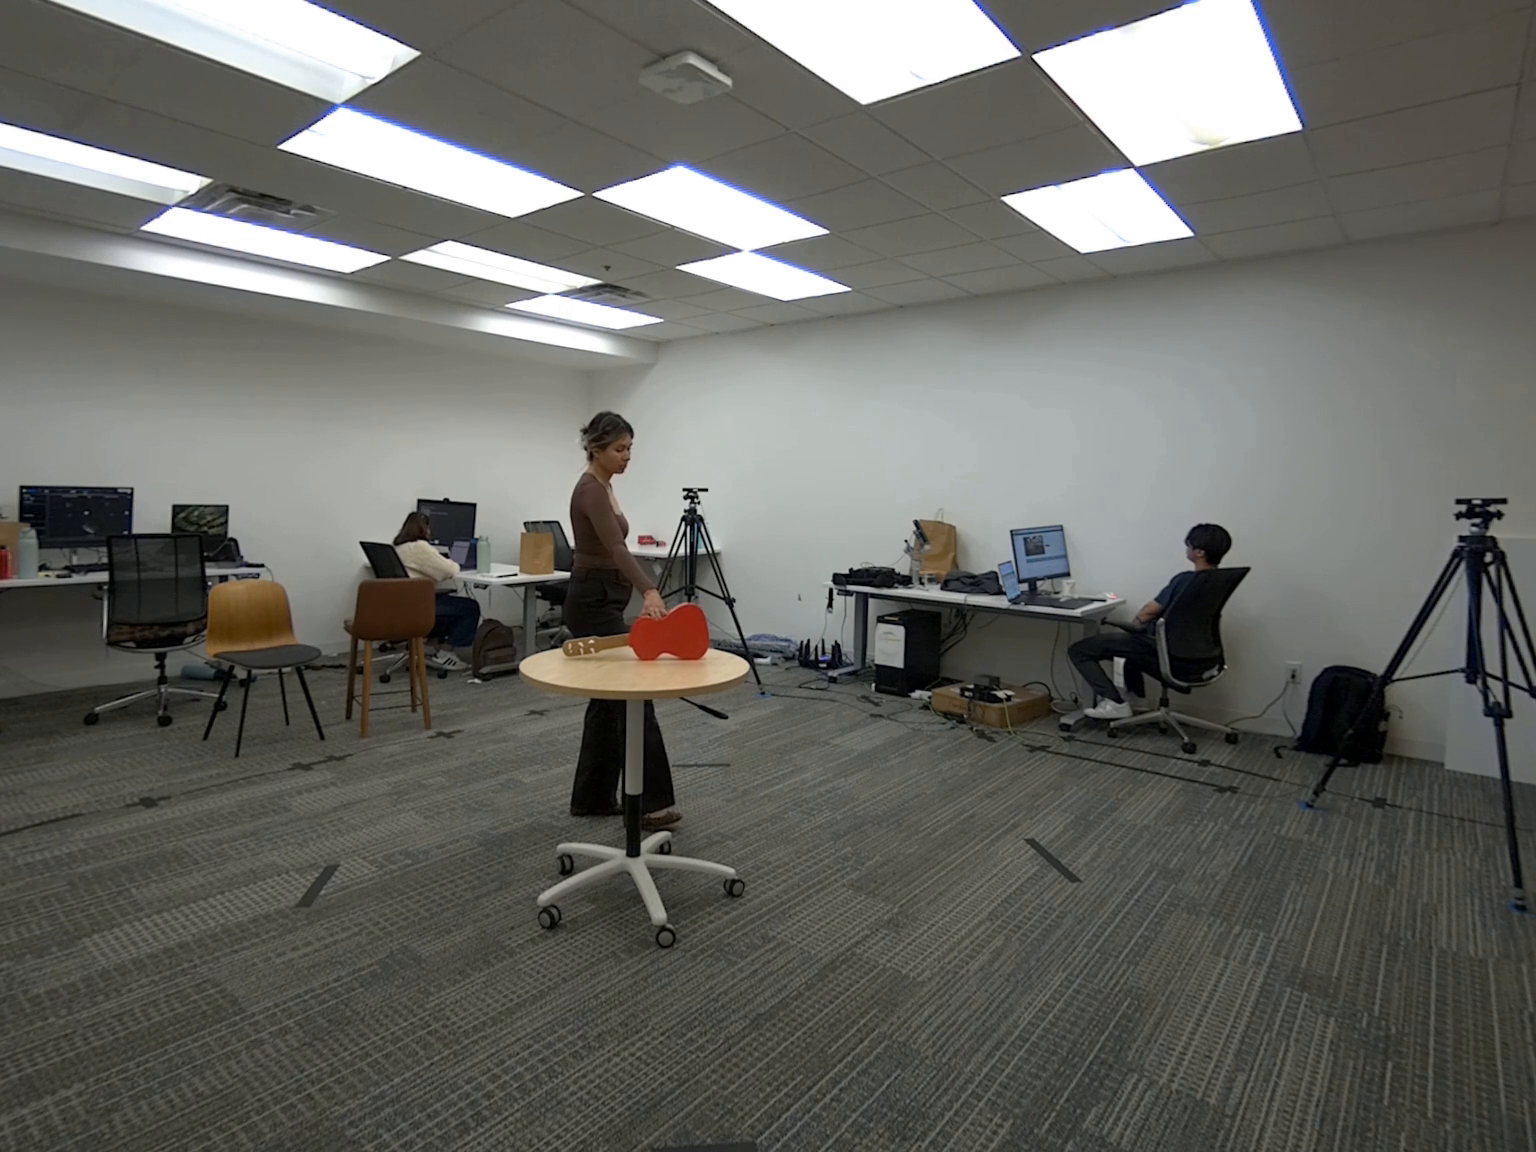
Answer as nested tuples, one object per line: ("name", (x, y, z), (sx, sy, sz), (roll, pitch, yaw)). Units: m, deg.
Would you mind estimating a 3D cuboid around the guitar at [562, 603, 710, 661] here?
("guitar", (-0.466, 0.244, 2.935), (0.495, 0.192, 0.071), (-17, 4, -8))
